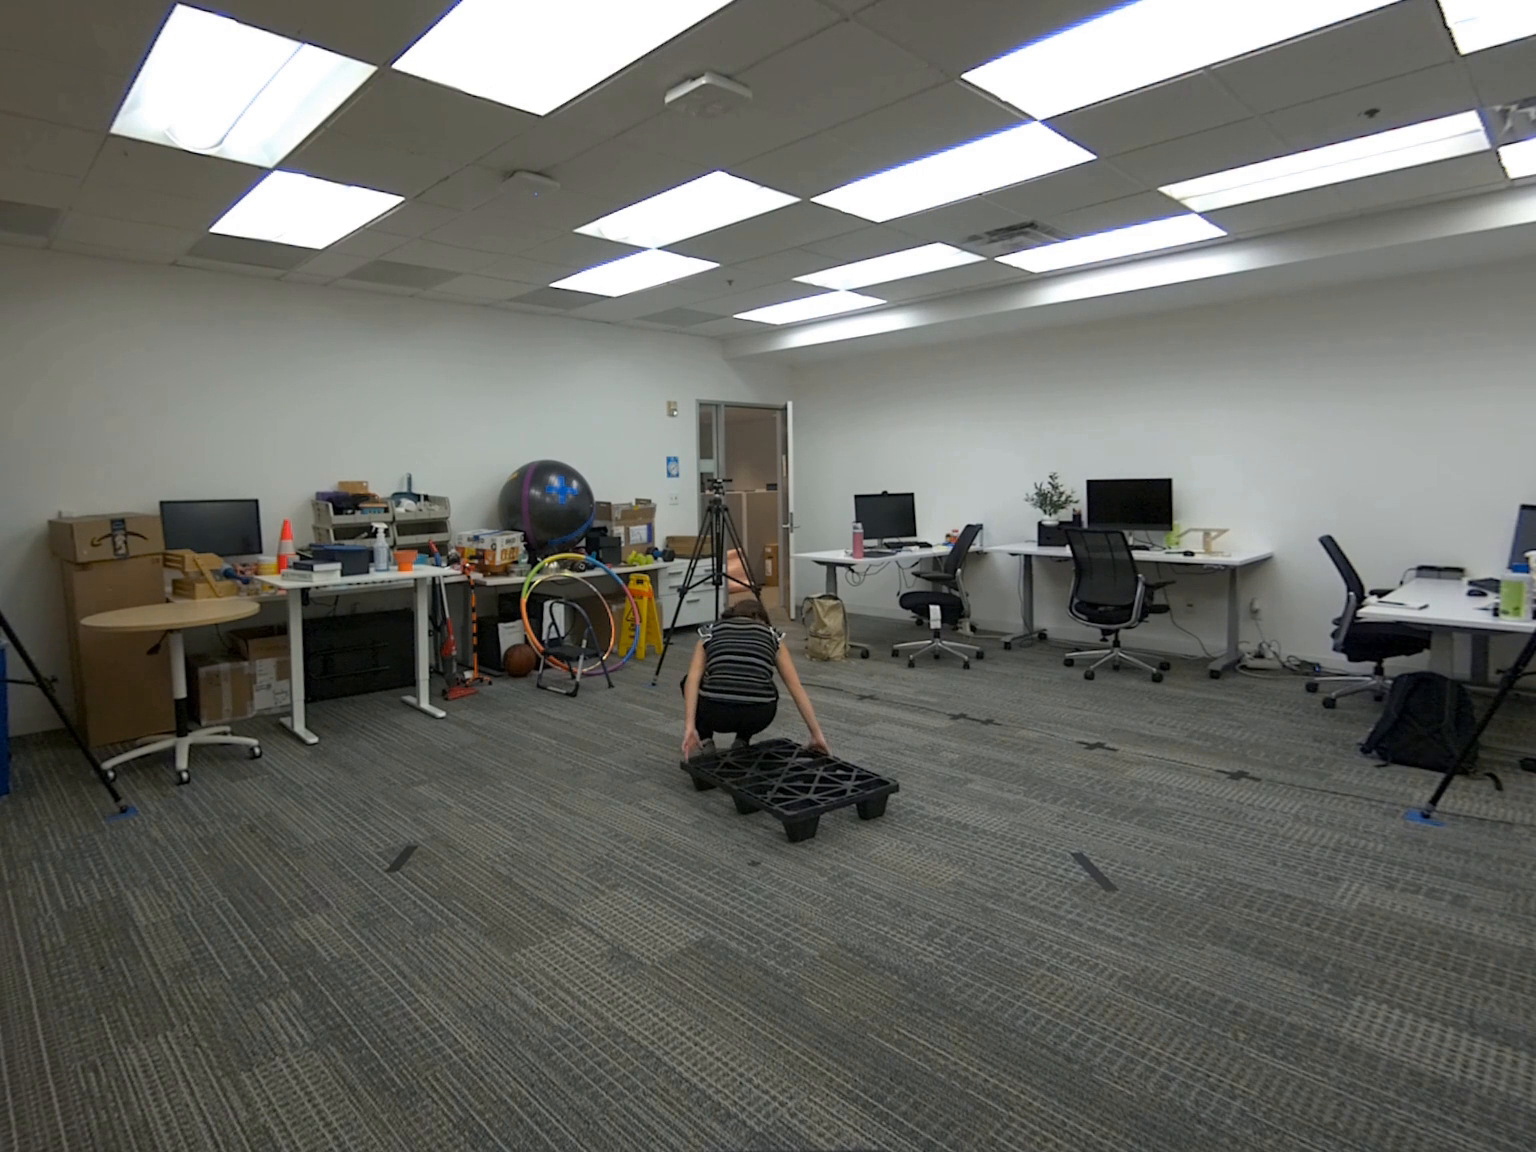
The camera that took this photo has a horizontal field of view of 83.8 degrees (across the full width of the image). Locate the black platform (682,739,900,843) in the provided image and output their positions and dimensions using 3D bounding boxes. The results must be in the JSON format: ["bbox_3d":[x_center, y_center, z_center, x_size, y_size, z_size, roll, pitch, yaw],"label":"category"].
[{"bbox_3d":[0.076,0.910,3.702,0.589,0.143,0.830,-4,7,-36],"label":"black platform"}]
